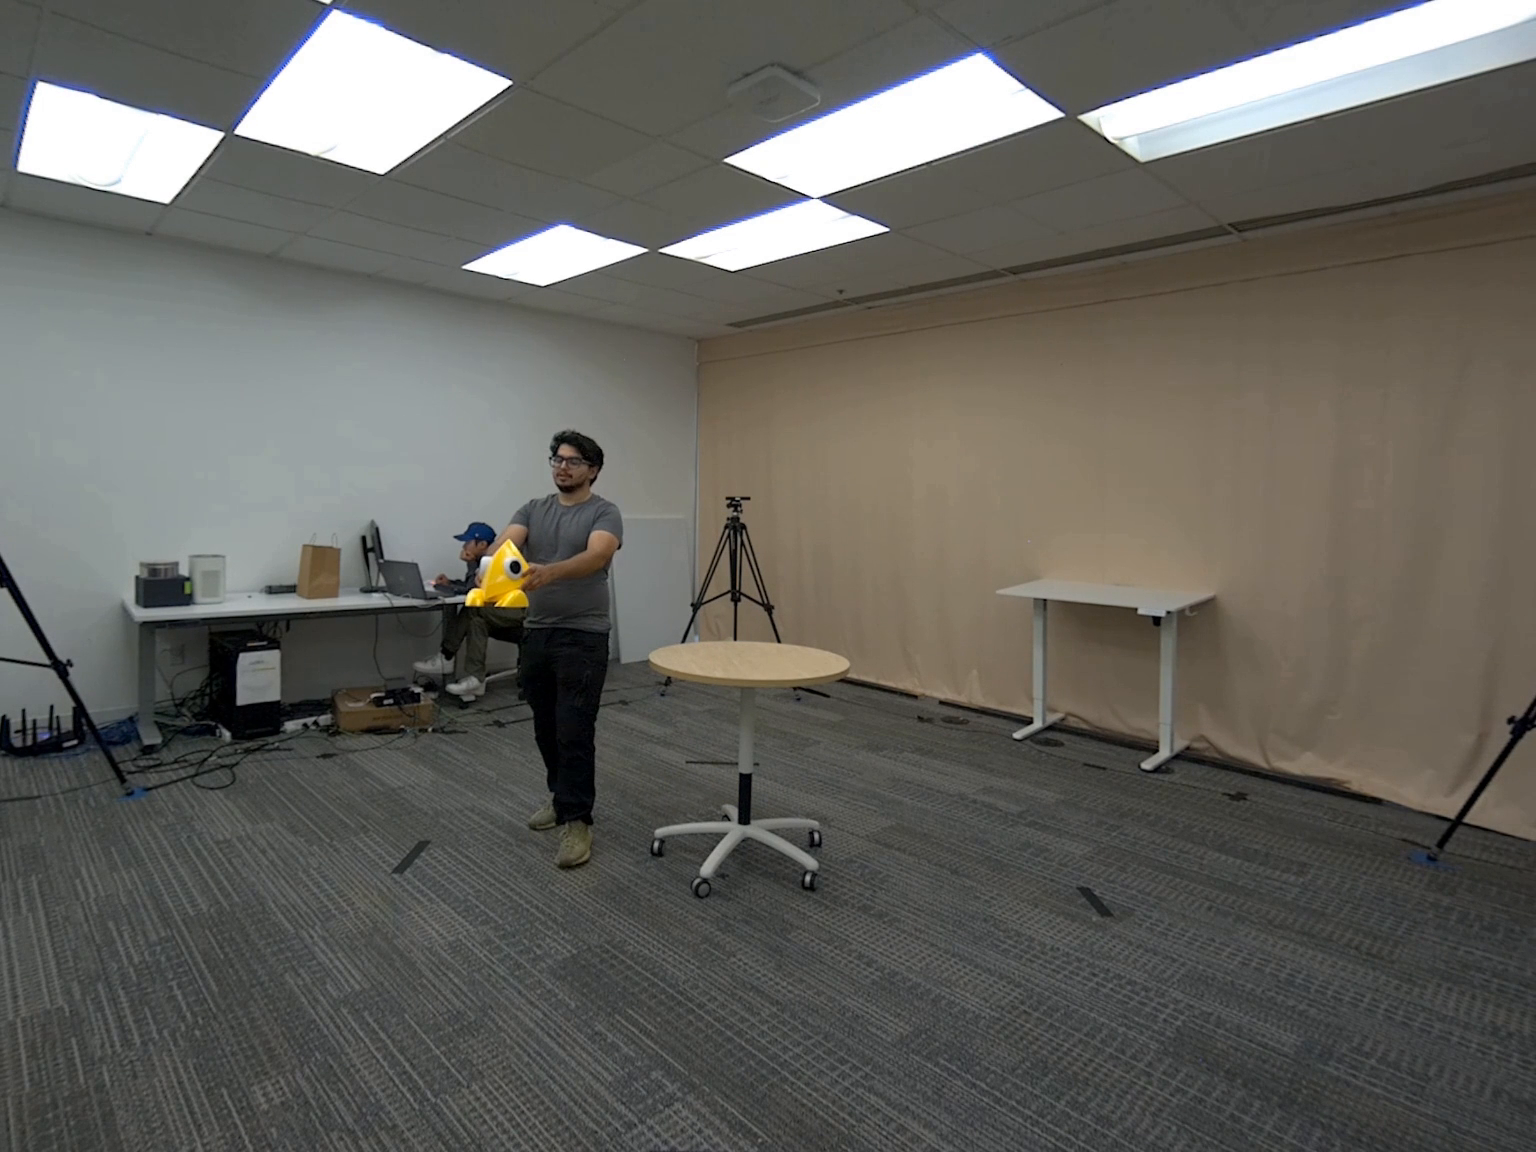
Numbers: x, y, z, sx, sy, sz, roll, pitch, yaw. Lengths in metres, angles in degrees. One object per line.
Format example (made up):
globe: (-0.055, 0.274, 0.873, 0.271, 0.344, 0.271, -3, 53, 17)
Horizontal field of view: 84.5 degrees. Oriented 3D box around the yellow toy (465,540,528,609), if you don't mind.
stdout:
yellow toy: (-0.927, -0.016, 2.850, 0.207, 0.231, 0.191, 2, -2, 11)
